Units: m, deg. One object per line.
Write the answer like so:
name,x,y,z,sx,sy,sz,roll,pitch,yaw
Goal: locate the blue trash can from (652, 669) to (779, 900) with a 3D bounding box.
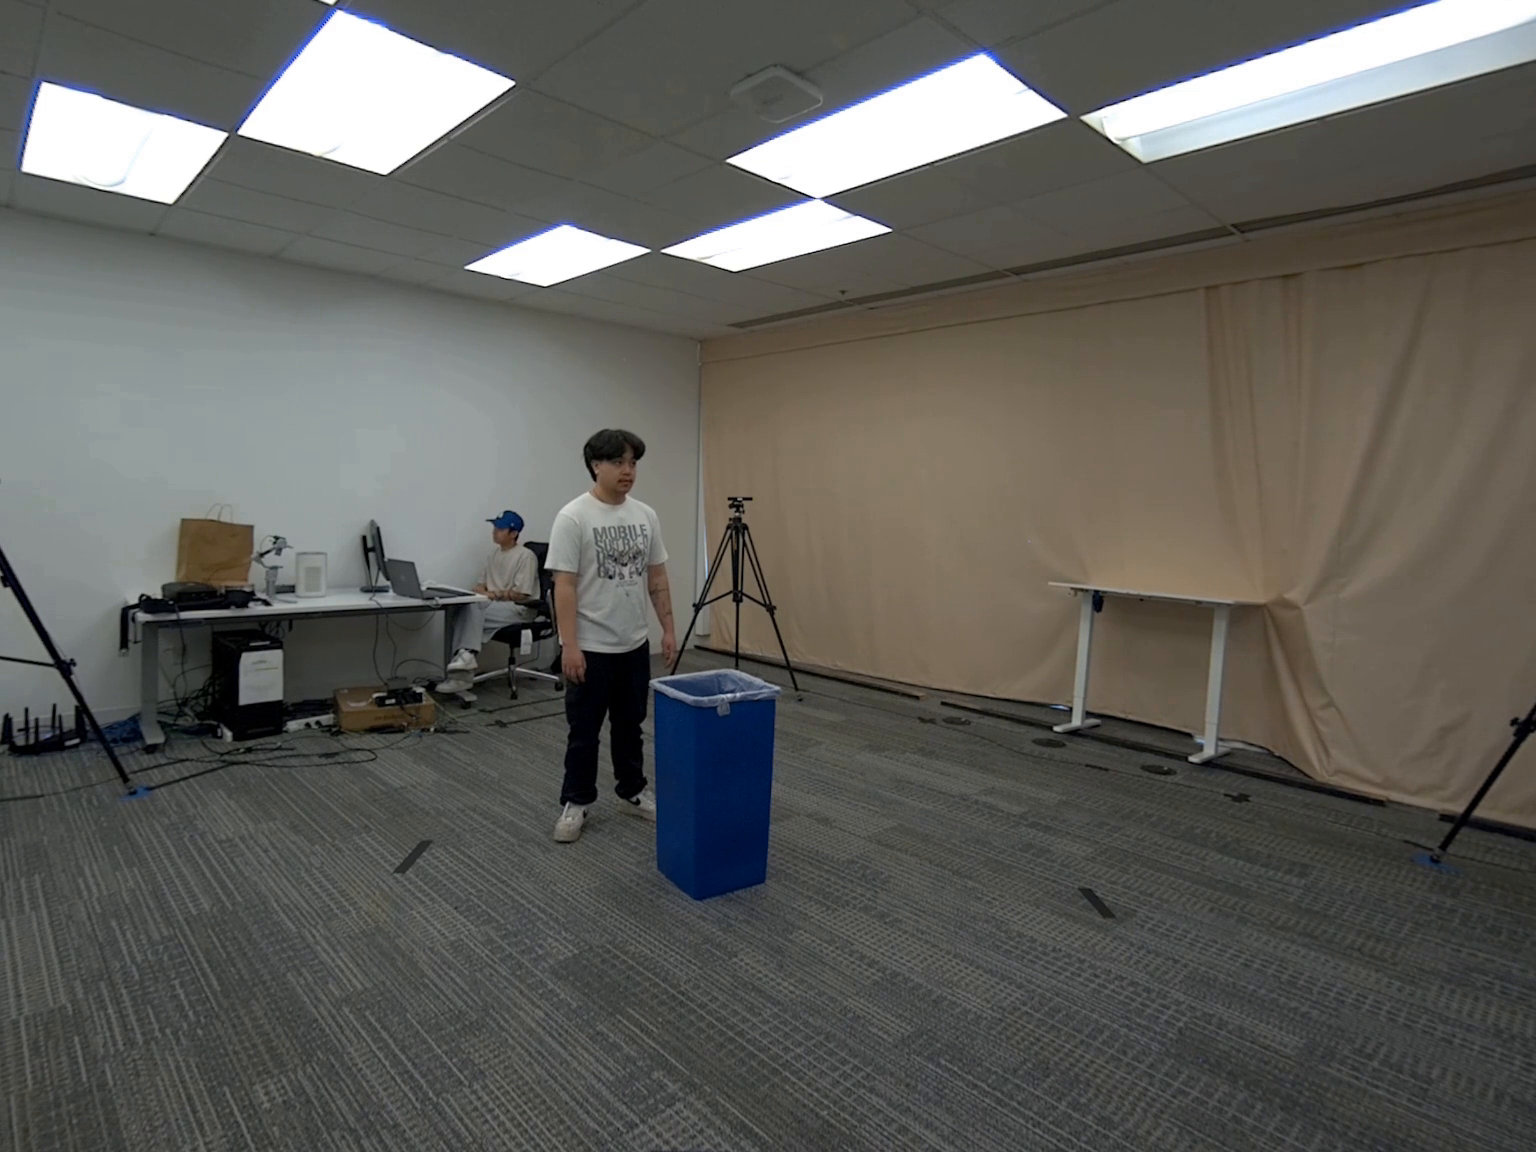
blue trash can,-0.215,0.749,3.094,0.370,0.712,0.383,-1,4,-34
